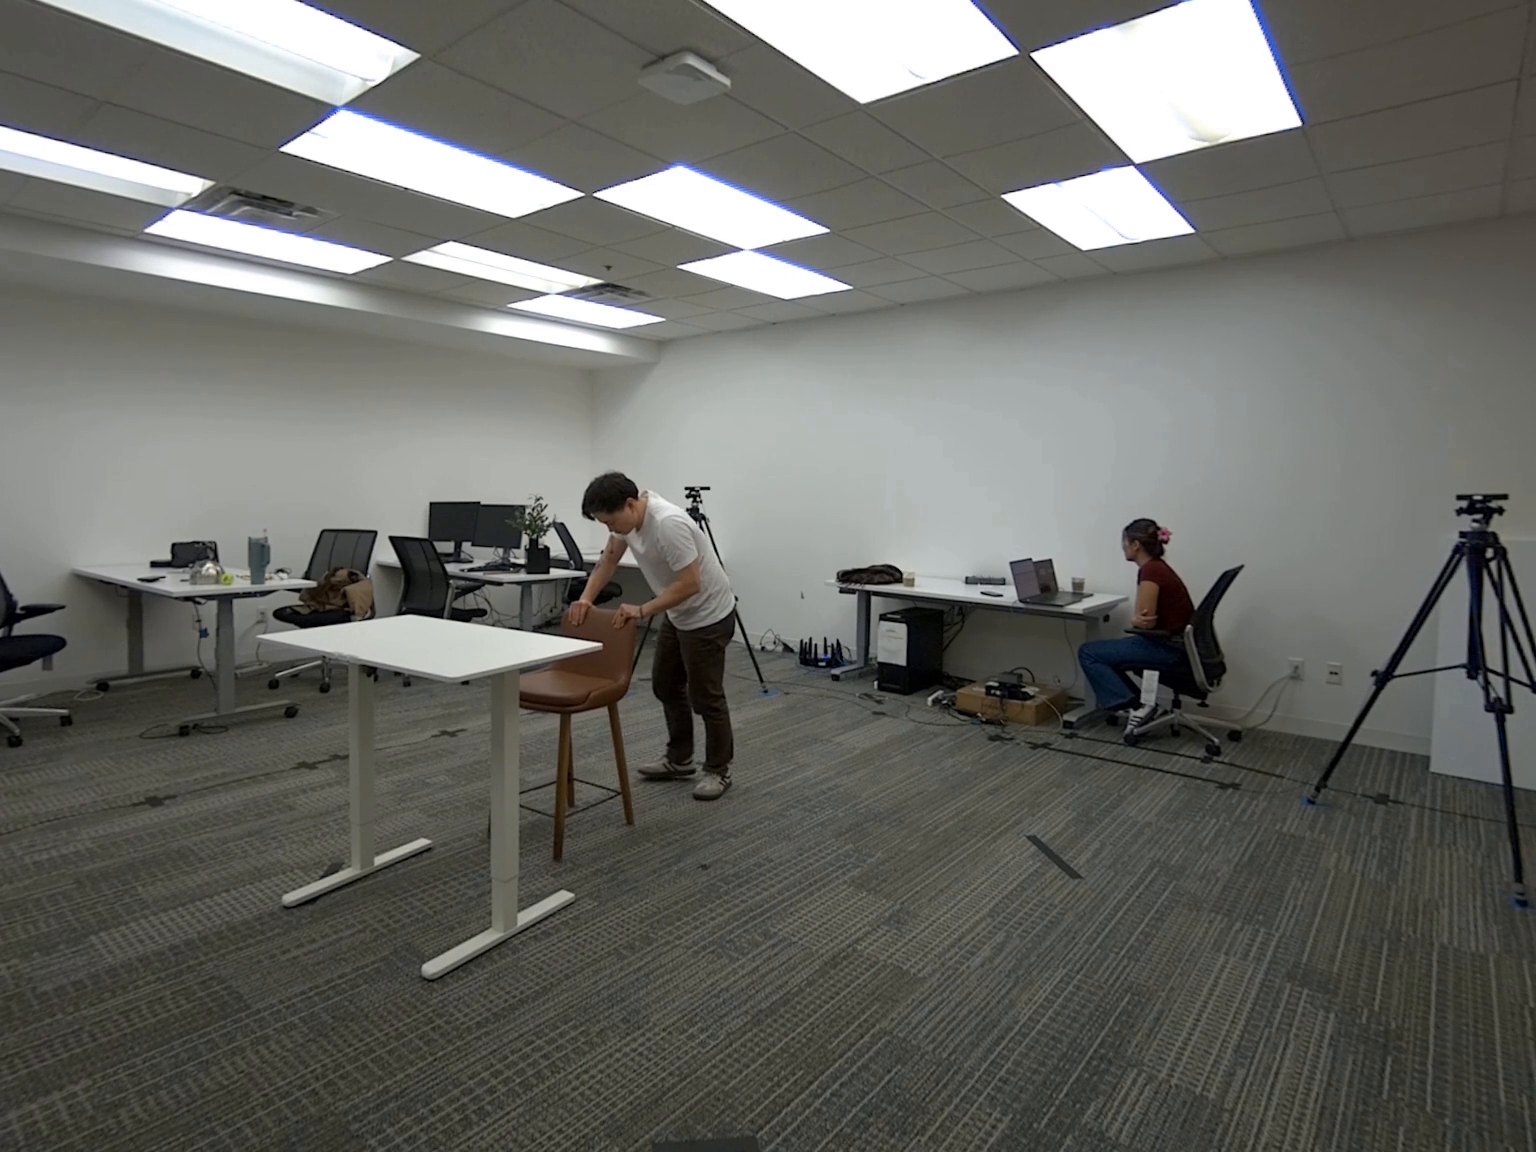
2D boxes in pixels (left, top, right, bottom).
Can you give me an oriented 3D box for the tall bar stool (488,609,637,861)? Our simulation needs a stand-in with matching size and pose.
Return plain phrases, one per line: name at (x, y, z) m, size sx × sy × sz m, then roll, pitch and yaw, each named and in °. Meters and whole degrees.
tall bar stool at (-0.823, 0.587, 3.424) m, size 0.471 × 0.889 × 0.453 m, roll 3°, pitch 2°, yaw 35°
